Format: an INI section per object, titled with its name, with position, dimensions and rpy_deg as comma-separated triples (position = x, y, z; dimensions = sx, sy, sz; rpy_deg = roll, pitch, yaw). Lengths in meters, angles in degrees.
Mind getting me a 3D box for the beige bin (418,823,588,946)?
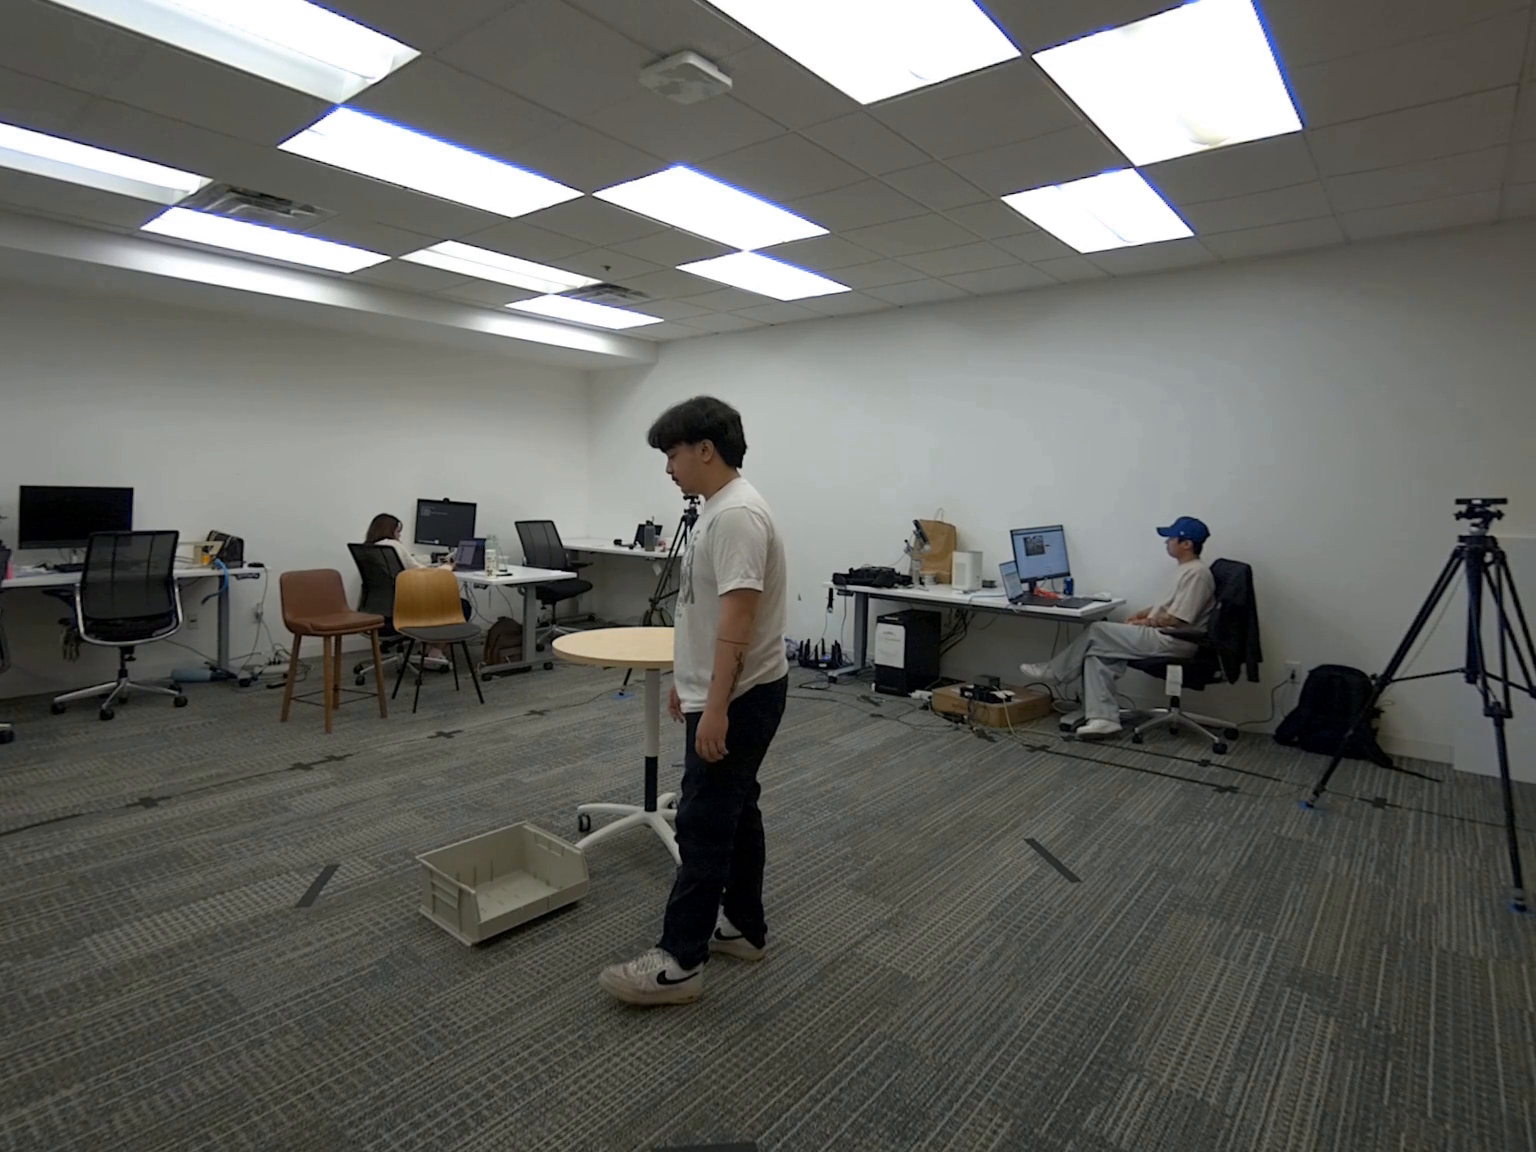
[beige bin]
position = -0.879, 1.002, 2.792
dimensions = 0.390, 0.188, 0.410
rpy_deg = 4, 6, 41
